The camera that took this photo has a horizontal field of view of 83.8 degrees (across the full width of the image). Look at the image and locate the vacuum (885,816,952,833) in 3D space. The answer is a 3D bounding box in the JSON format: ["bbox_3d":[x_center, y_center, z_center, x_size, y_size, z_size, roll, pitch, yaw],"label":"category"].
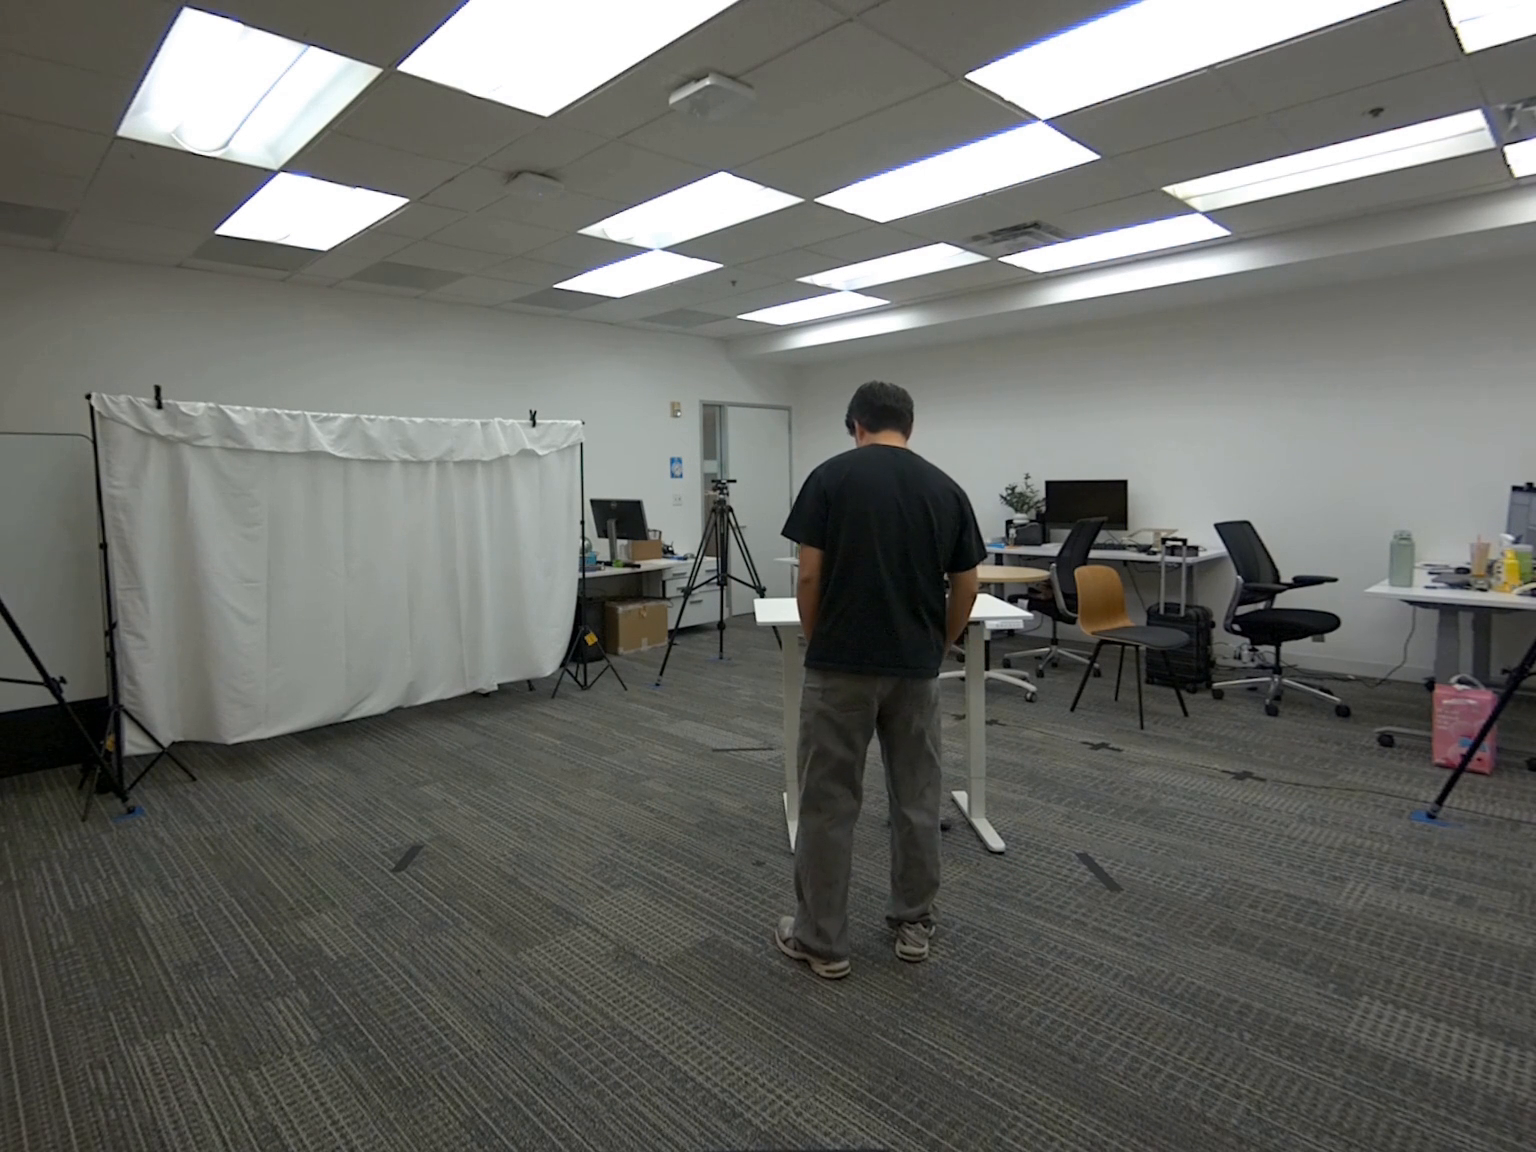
[{"bbox_3d":[0.539,0.634,3.011,0.257,1.016,0.146,7,48,16],"label":"vacuum"}]
